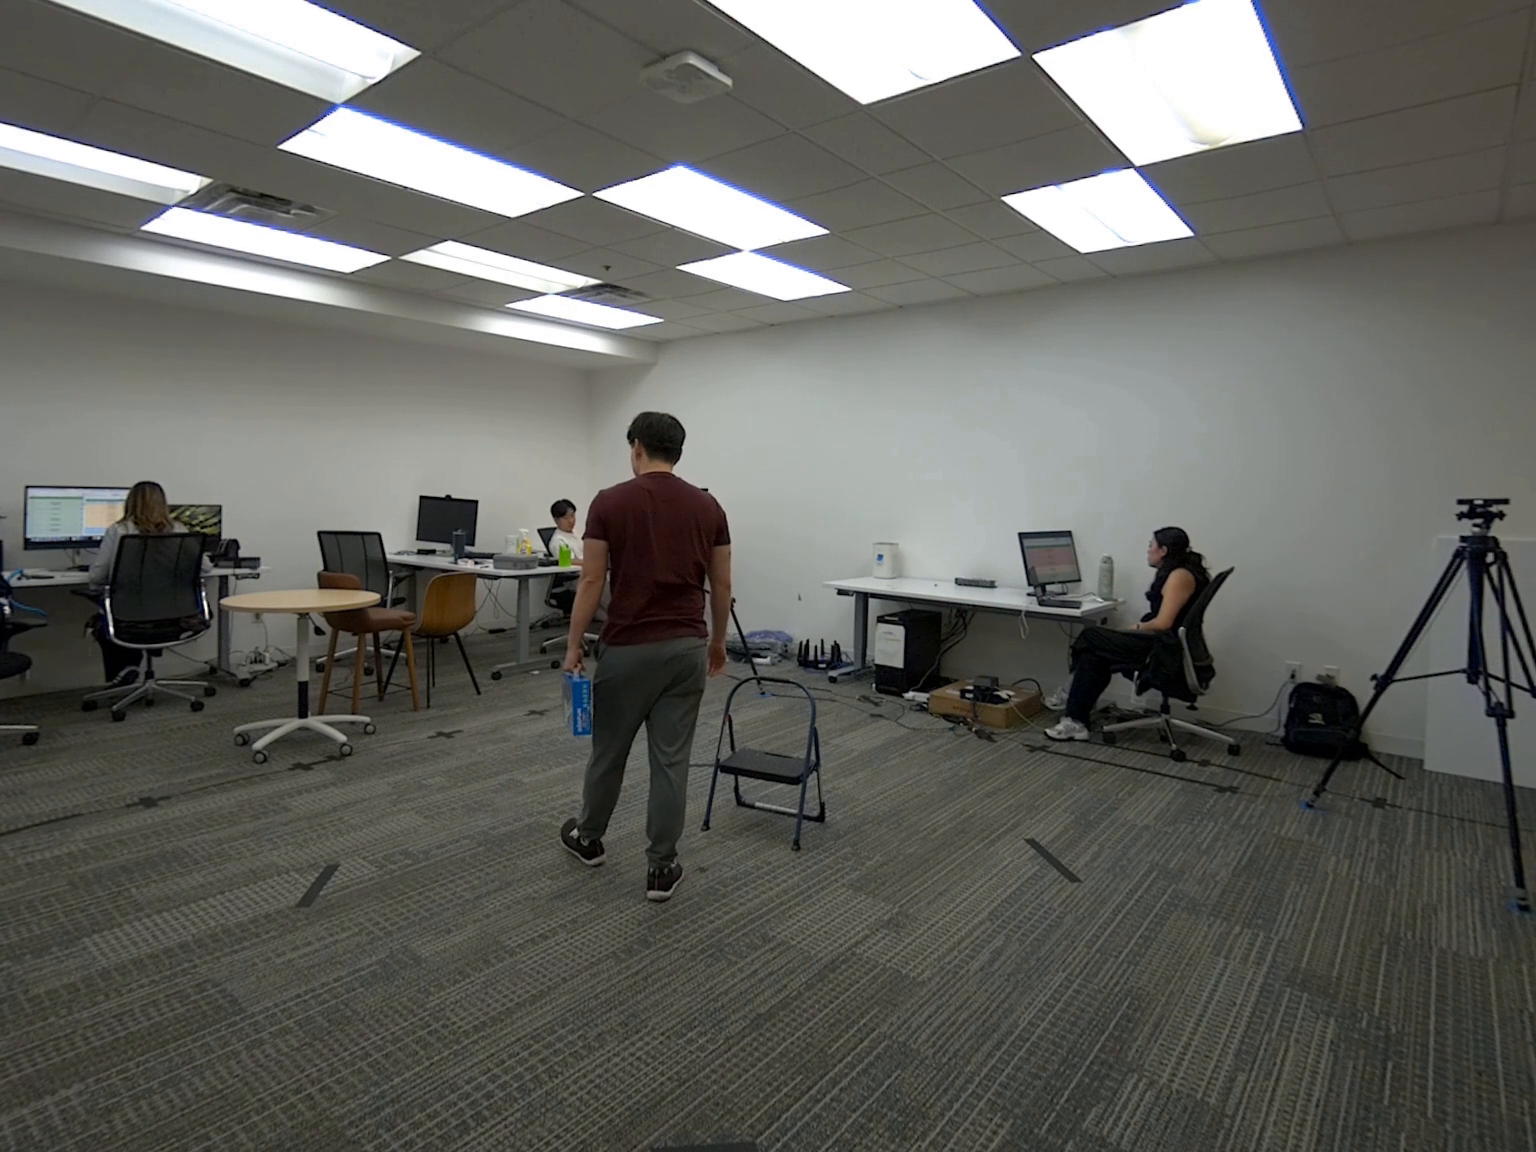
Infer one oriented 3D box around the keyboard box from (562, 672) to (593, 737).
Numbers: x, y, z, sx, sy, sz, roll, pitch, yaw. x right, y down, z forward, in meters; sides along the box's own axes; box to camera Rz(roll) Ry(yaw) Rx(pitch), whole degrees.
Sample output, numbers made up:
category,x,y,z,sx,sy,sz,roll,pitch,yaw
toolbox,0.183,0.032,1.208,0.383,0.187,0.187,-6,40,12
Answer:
category,x,y,z,sx,sy,sz,roll,pitch,yaw
keyboard box,-0.673,0.427,2.927,0.058,0.176,0.442,-1,-2,-16
